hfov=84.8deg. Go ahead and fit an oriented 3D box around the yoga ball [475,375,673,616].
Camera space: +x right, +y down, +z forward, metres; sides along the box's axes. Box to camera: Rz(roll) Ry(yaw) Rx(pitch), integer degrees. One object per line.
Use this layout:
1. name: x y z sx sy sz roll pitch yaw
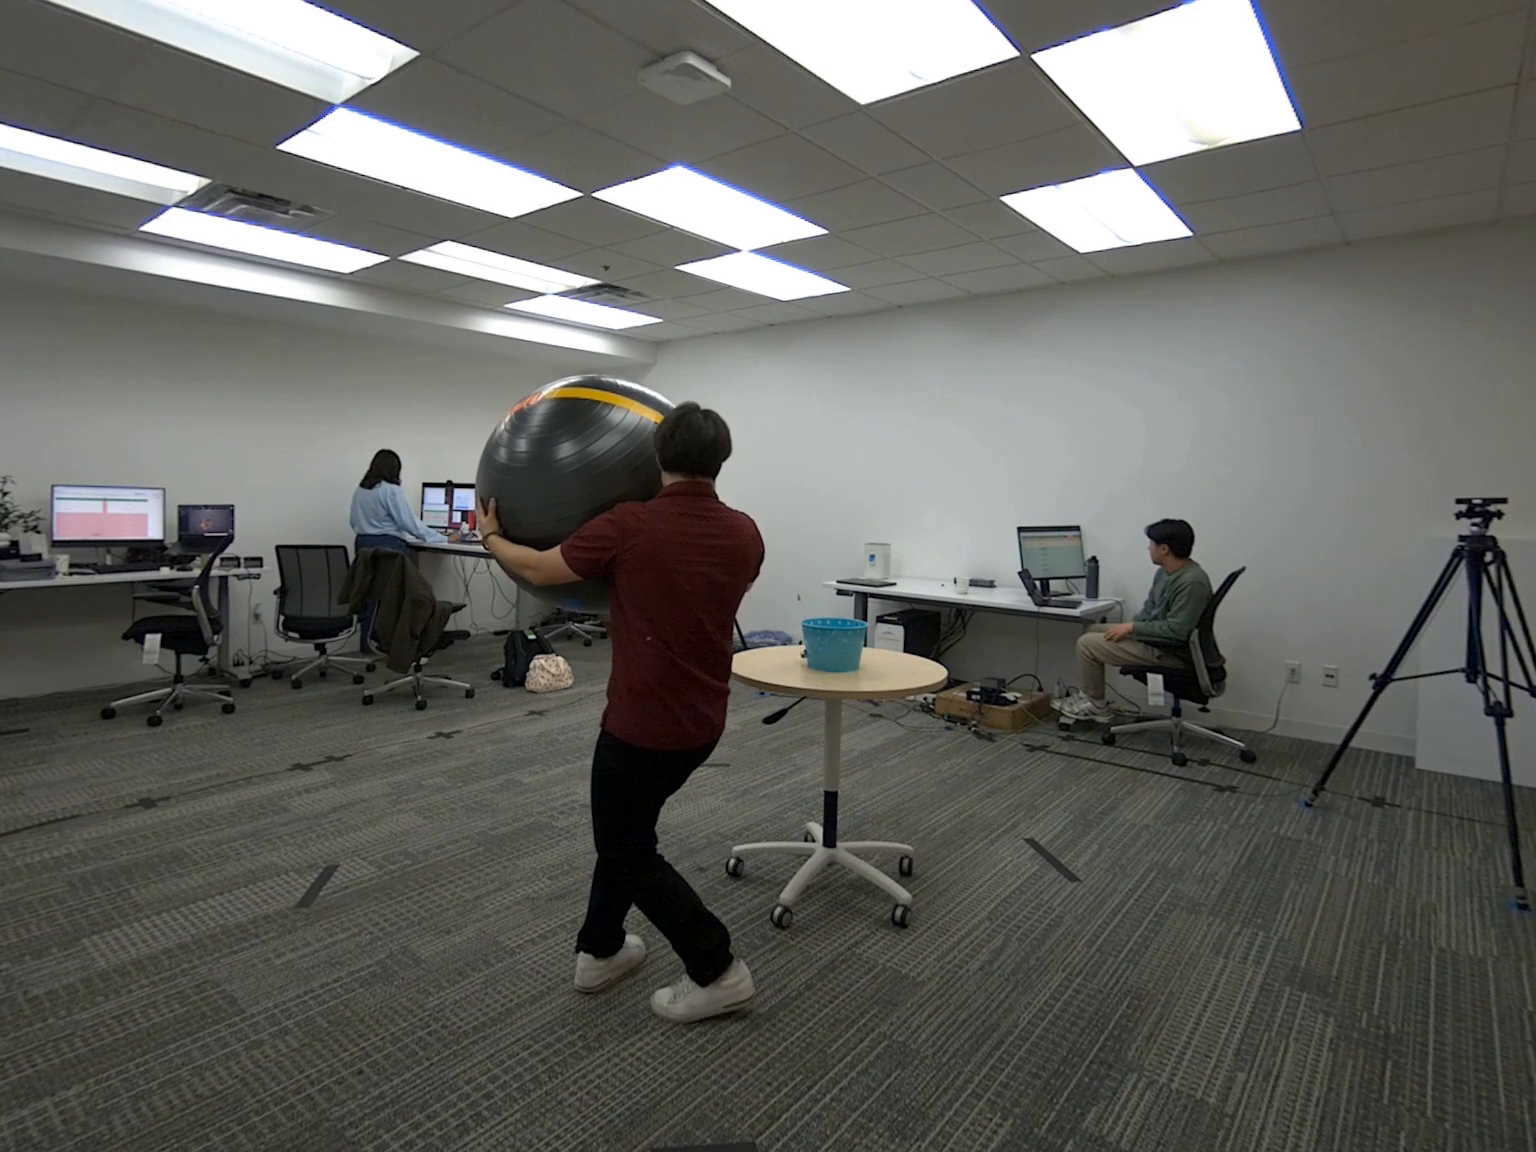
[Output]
1. yoga ball: -0.554 -0.260 2.718 0.757 0.756 0.761 1 4 -2
